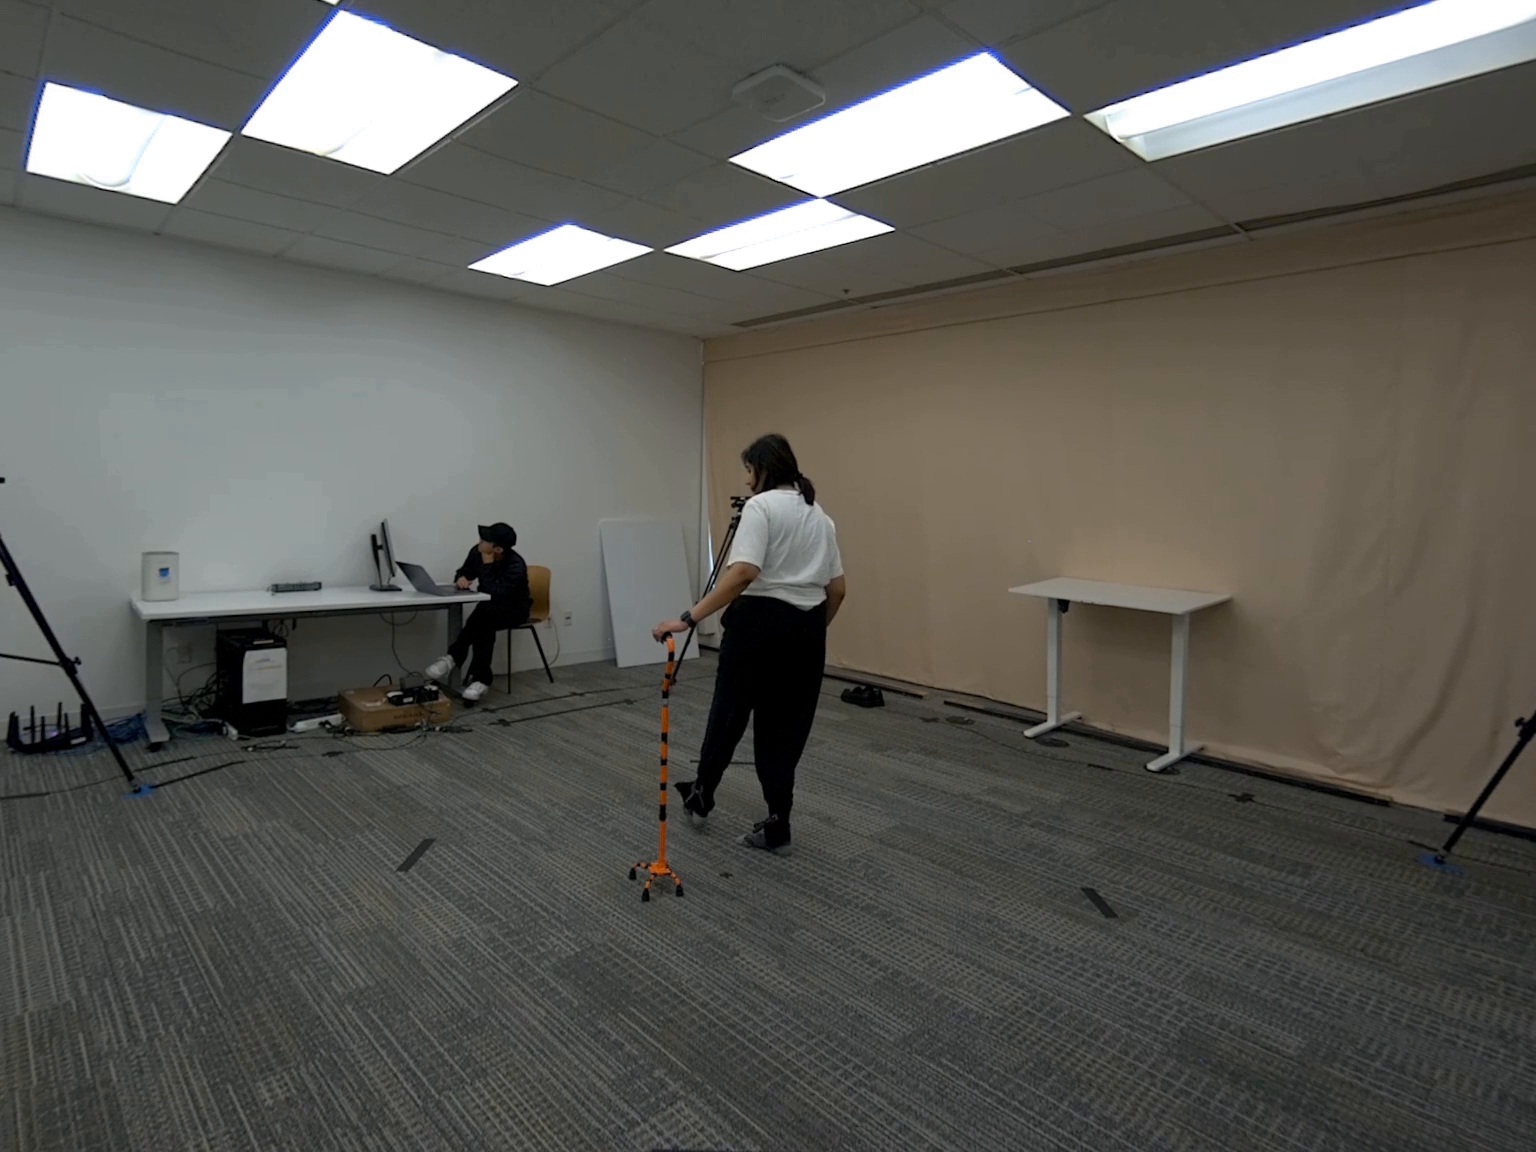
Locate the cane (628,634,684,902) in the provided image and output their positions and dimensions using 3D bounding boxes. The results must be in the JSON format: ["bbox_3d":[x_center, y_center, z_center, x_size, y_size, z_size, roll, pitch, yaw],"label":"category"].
[{"bbox_3d":[-0.390,0.658,2.981,0.149,0.906,0.210,1,3,-23],"label":"cane"}]
